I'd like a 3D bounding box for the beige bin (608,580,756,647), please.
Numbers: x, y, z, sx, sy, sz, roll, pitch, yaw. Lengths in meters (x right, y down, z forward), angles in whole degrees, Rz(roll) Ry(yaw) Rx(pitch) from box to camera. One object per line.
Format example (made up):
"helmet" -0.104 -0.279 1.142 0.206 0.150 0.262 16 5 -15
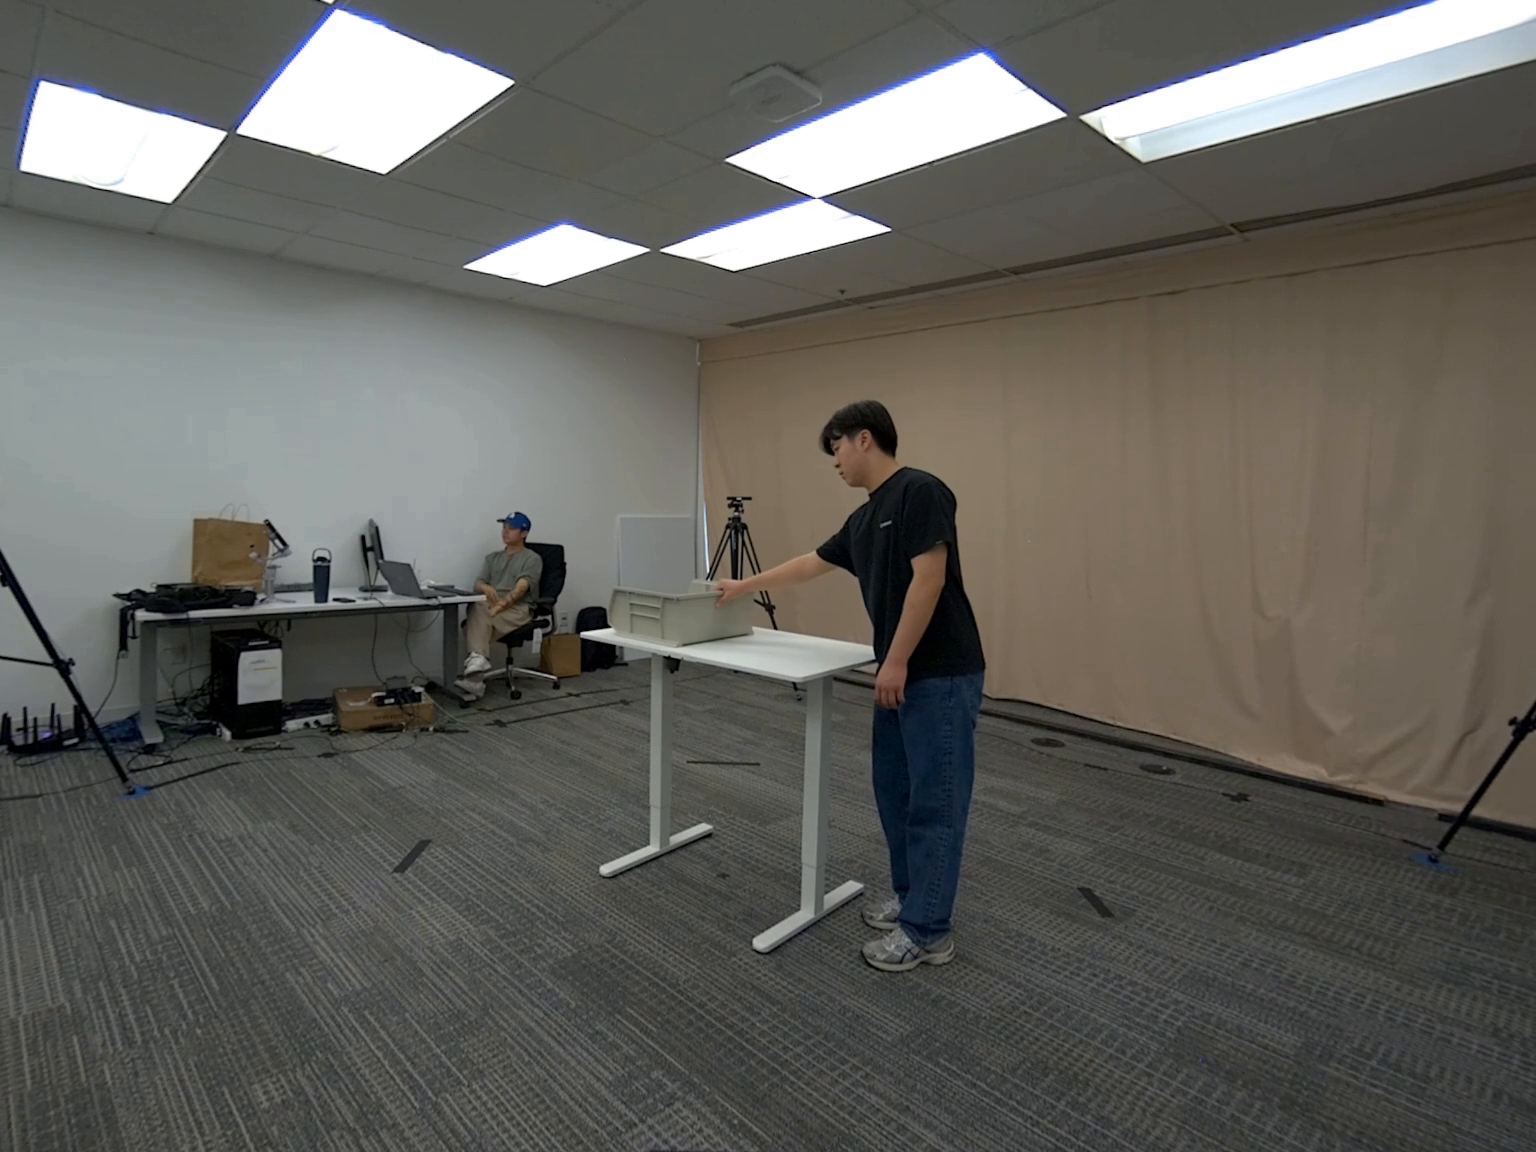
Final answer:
"beige bin" -0.317 0.134 3.103 0.387 0.188 0.413 7 7 40
